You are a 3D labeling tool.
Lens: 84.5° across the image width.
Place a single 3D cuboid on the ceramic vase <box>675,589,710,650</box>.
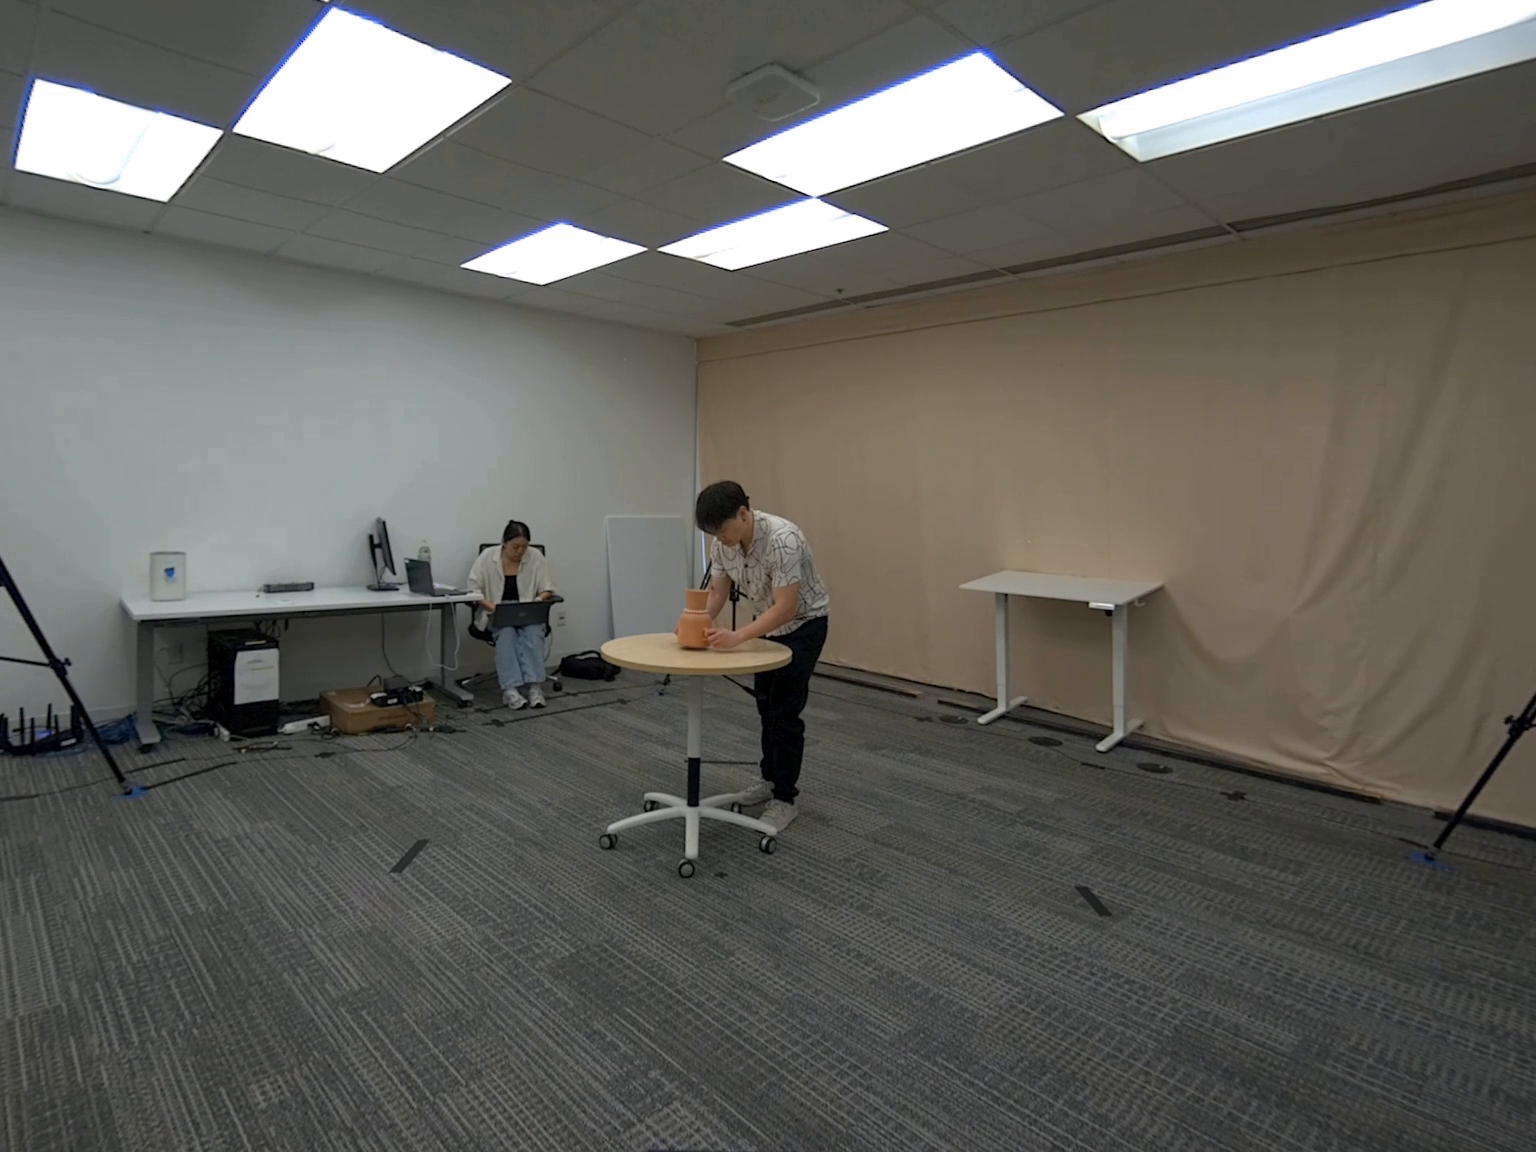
[{"bbox_3d":[-0.299,0.169,3.381,0.160,0.220,0.133,4,-1,10],"label":"ceramic vase"}]
